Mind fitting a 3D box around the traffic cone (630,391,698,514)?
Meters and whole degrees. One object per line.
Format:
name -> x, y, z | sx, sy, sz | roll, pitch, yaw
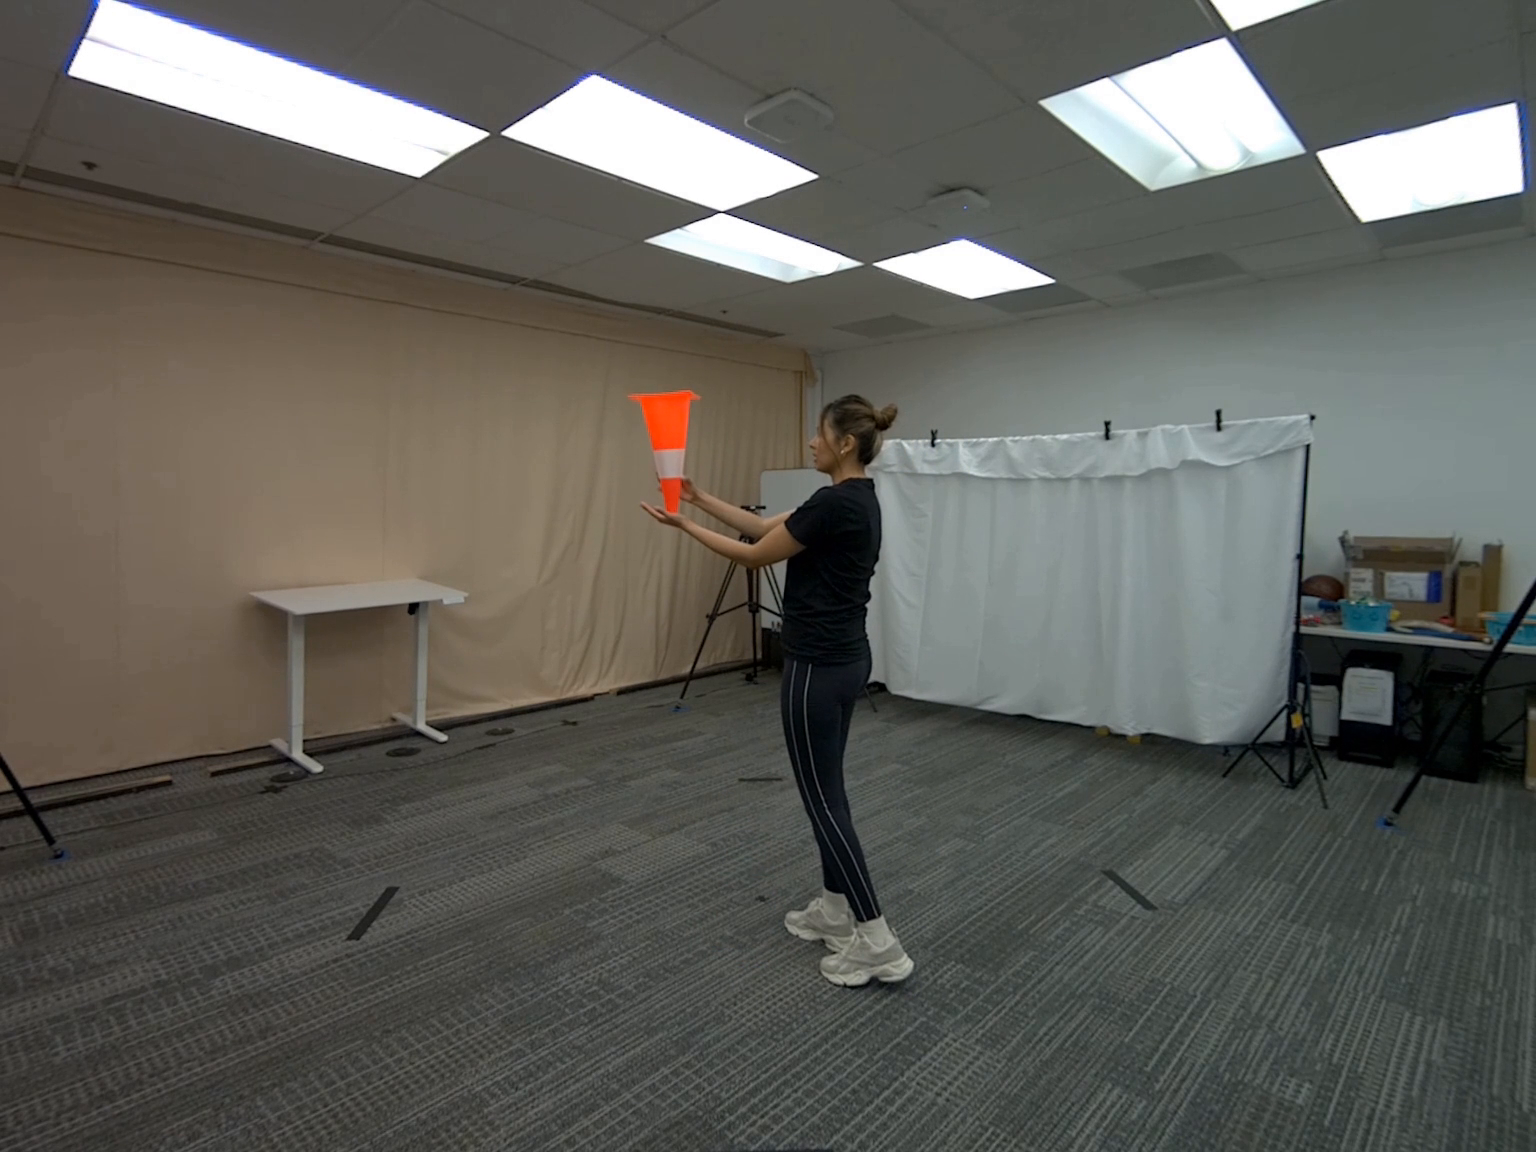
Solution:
traffic cone -> -0.309, -0.377, 2.665 | 0.205, 0.383, 0.204 | -4, 2, 5
